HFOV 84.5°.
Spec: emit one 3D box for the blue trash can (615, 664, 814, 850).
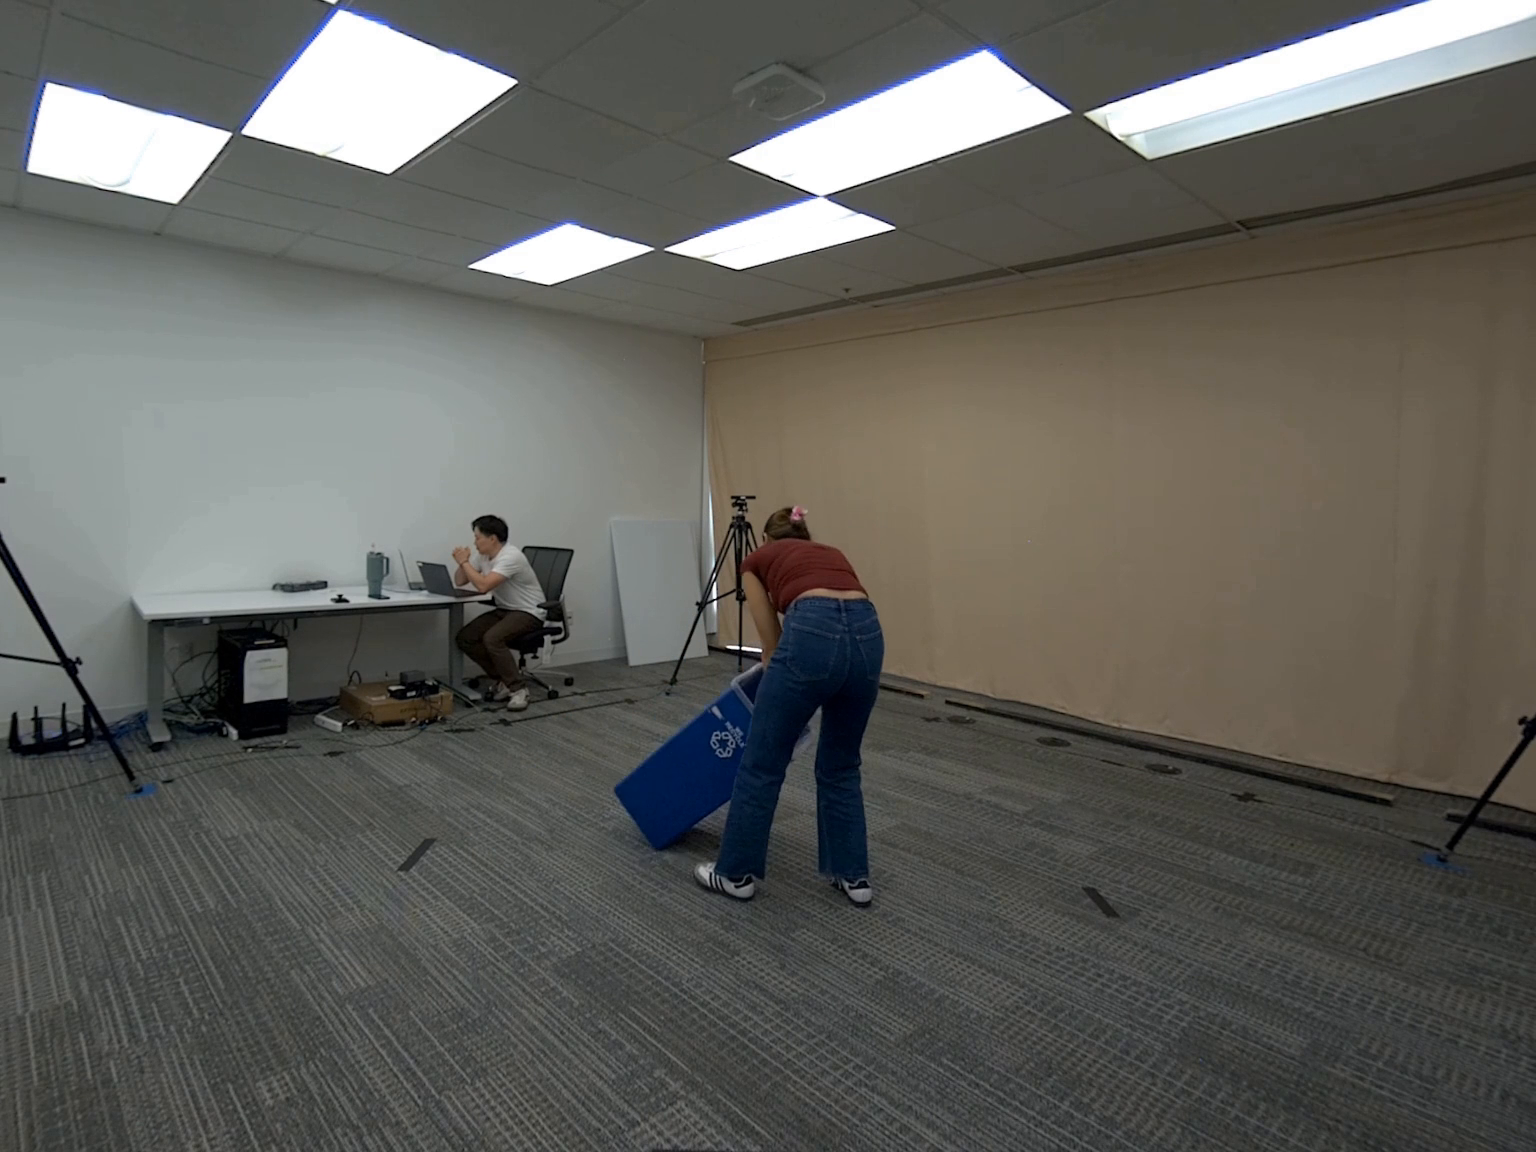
[{"bbox_3d":[-0.224,0.735,3.349,0.714,0.378,0.373,-42,-10,18],"label":"blue trash can"}]
